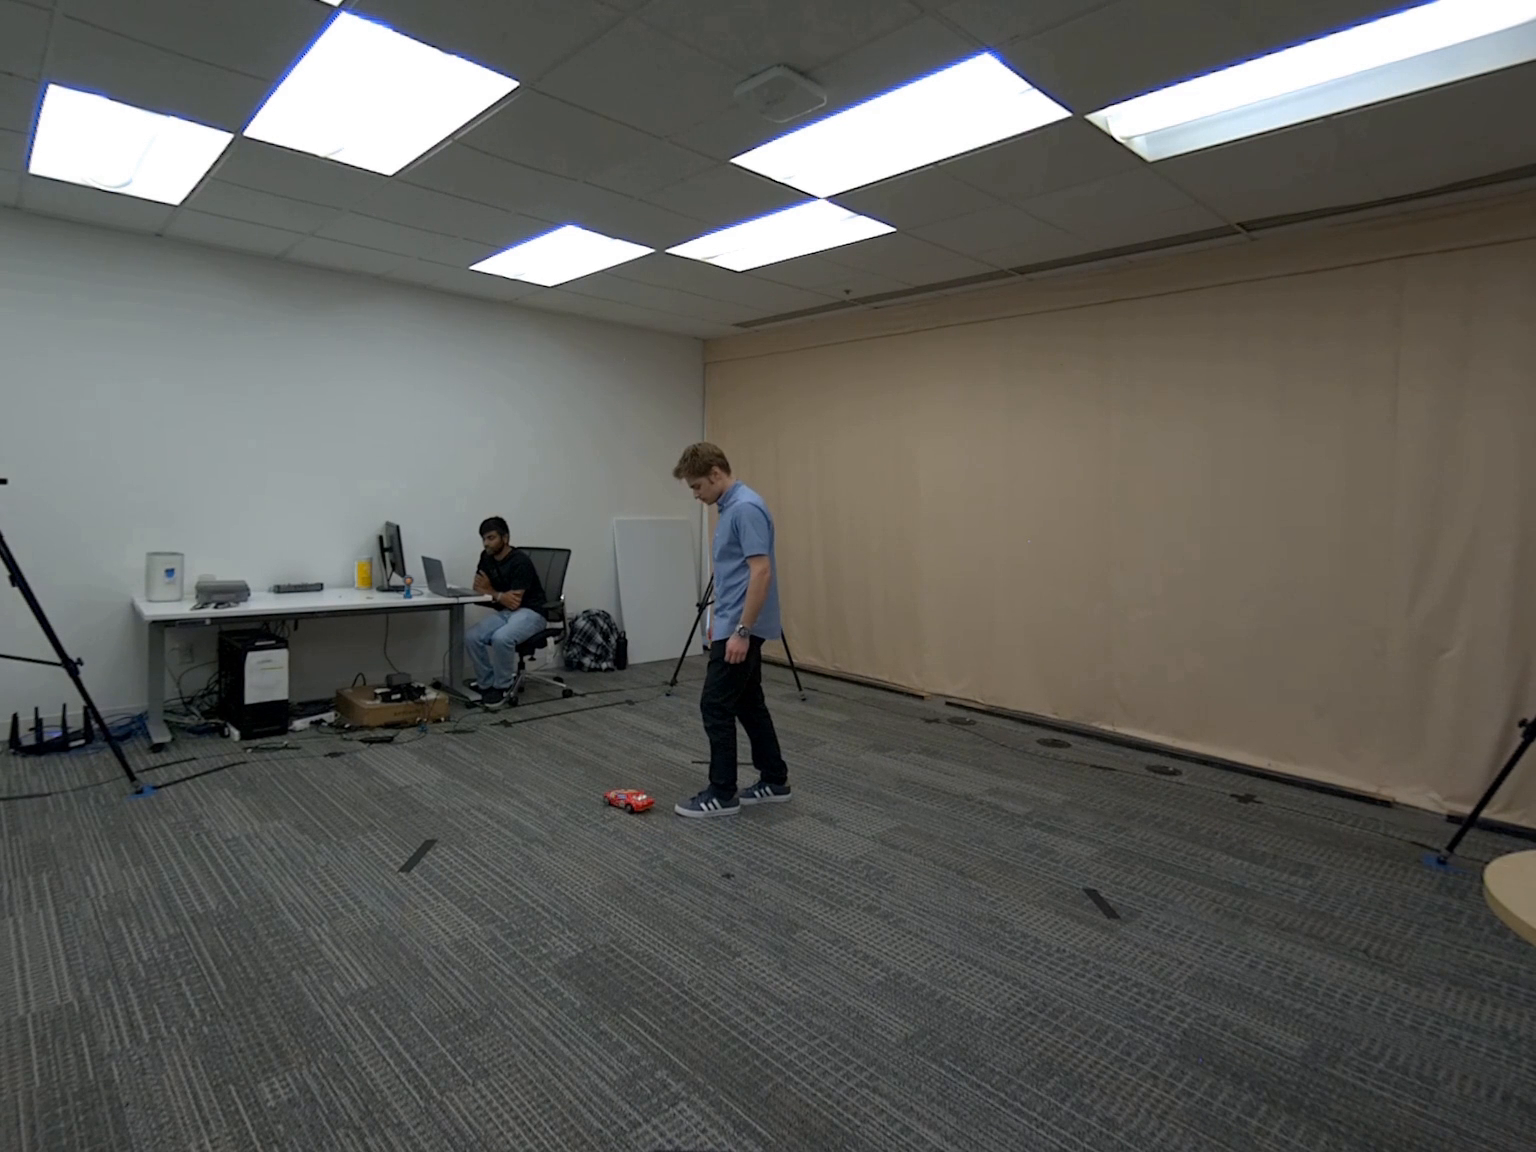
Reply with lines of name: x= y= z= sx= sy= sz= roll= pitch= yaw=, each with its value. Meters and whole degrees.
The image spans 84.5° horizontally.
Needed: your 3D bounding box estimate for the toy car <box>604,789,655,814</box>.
toy car: x=-0.634 y=1.010 z=3.766 sx=0.259 sy=0.083 sz=0.127 roll=-8 pitch=-3 yaw=35
